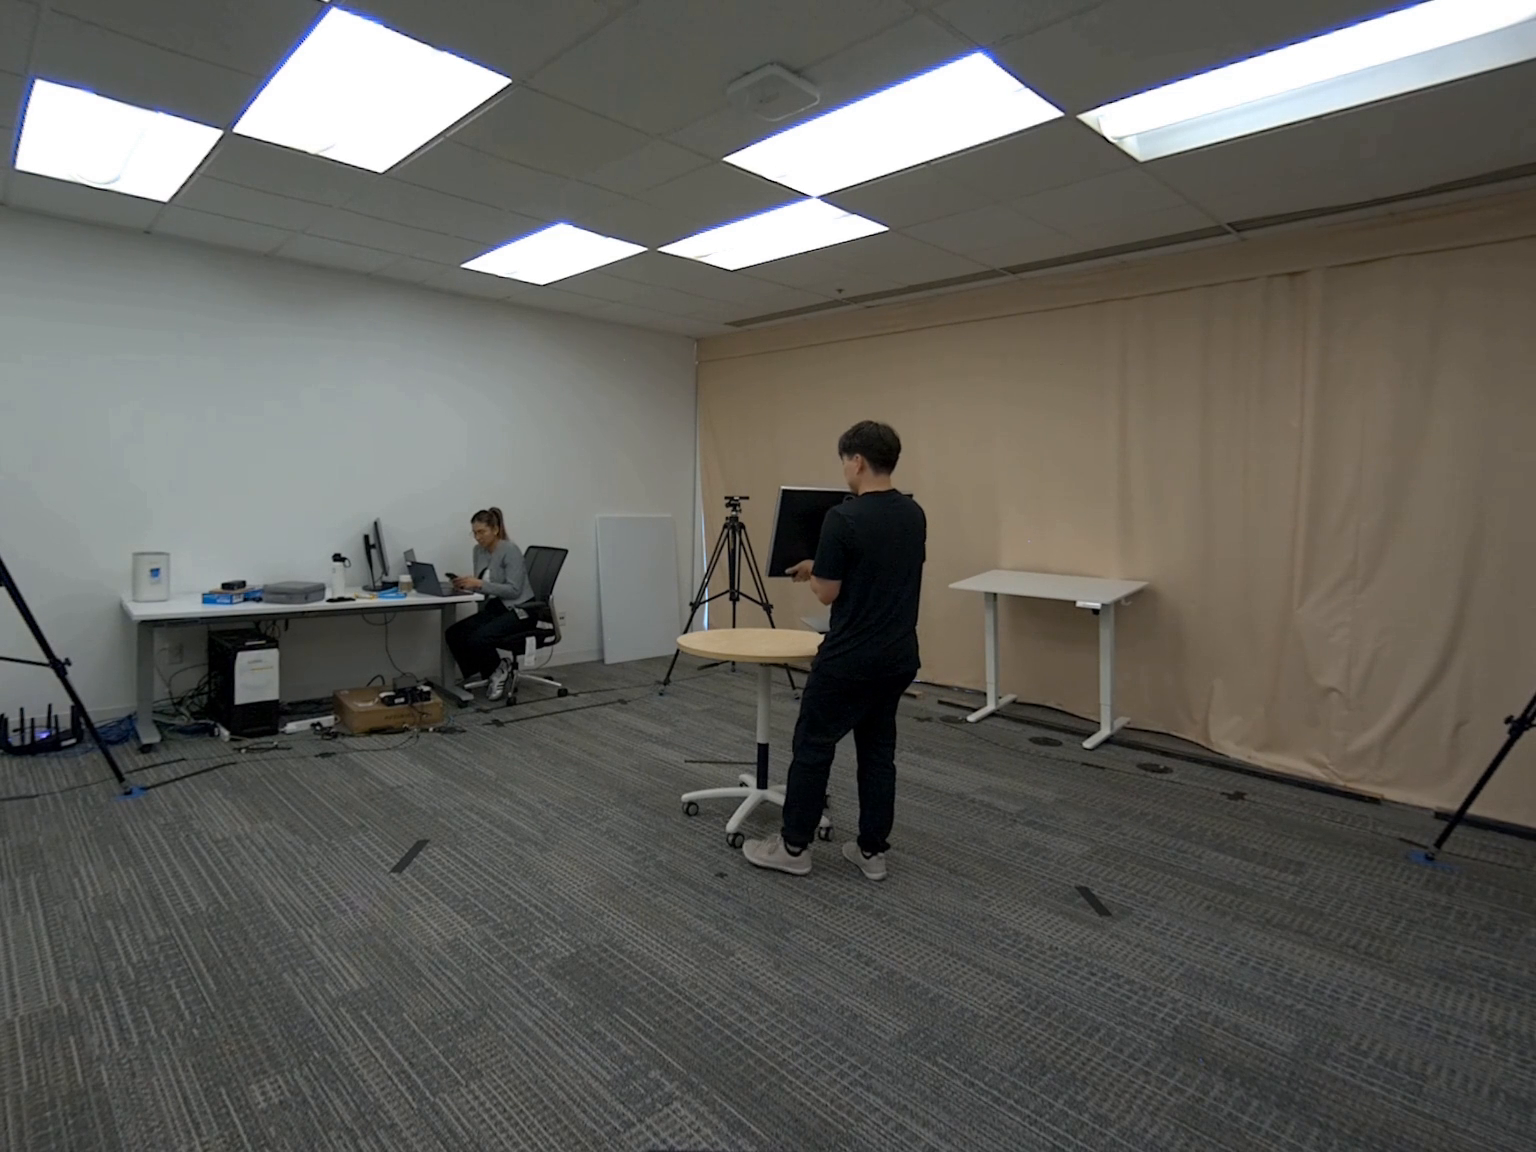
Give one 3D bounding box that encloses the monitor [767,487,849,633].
[{"bbox_3d":[0.277,-0.062,3.252,0.530,0.519,0.191,0,11,-22],"label":"monitor"}]
